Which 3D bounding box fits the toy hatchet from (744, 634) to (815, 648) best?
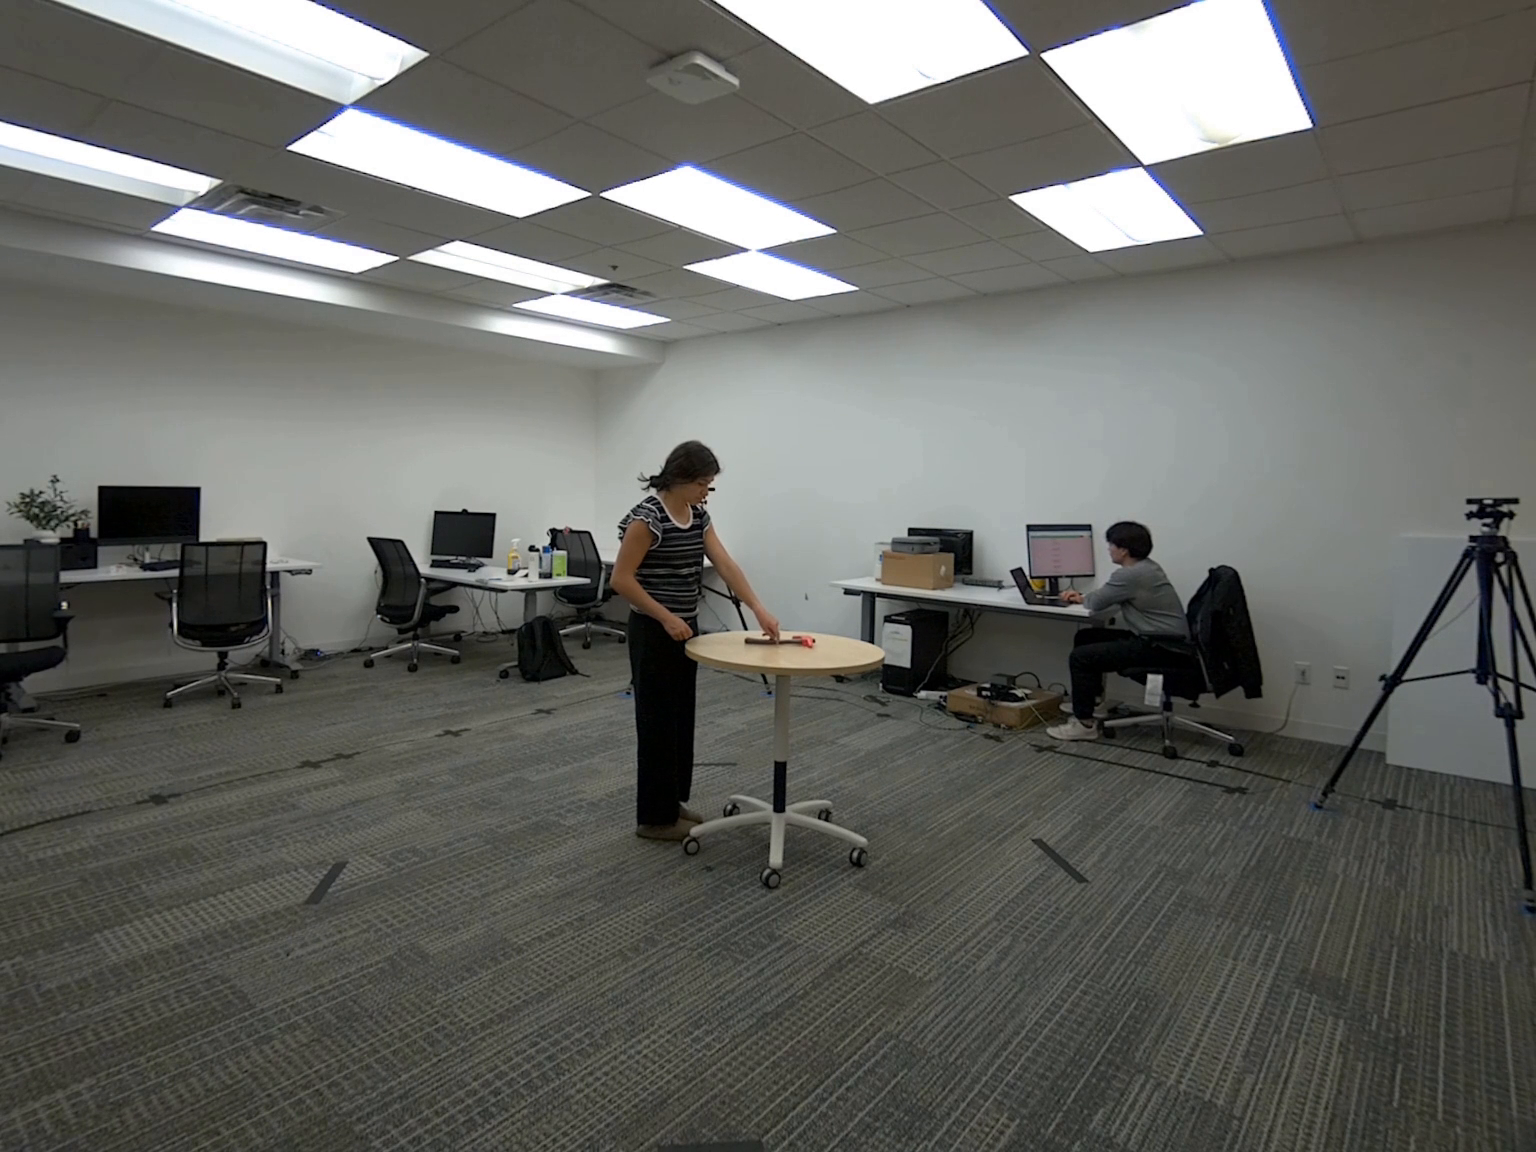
[{"bbox_3d":[0.038,0.248,3.356,0.274,0.029,0.130,4,13,12],"label":"toy hatchet"}]
